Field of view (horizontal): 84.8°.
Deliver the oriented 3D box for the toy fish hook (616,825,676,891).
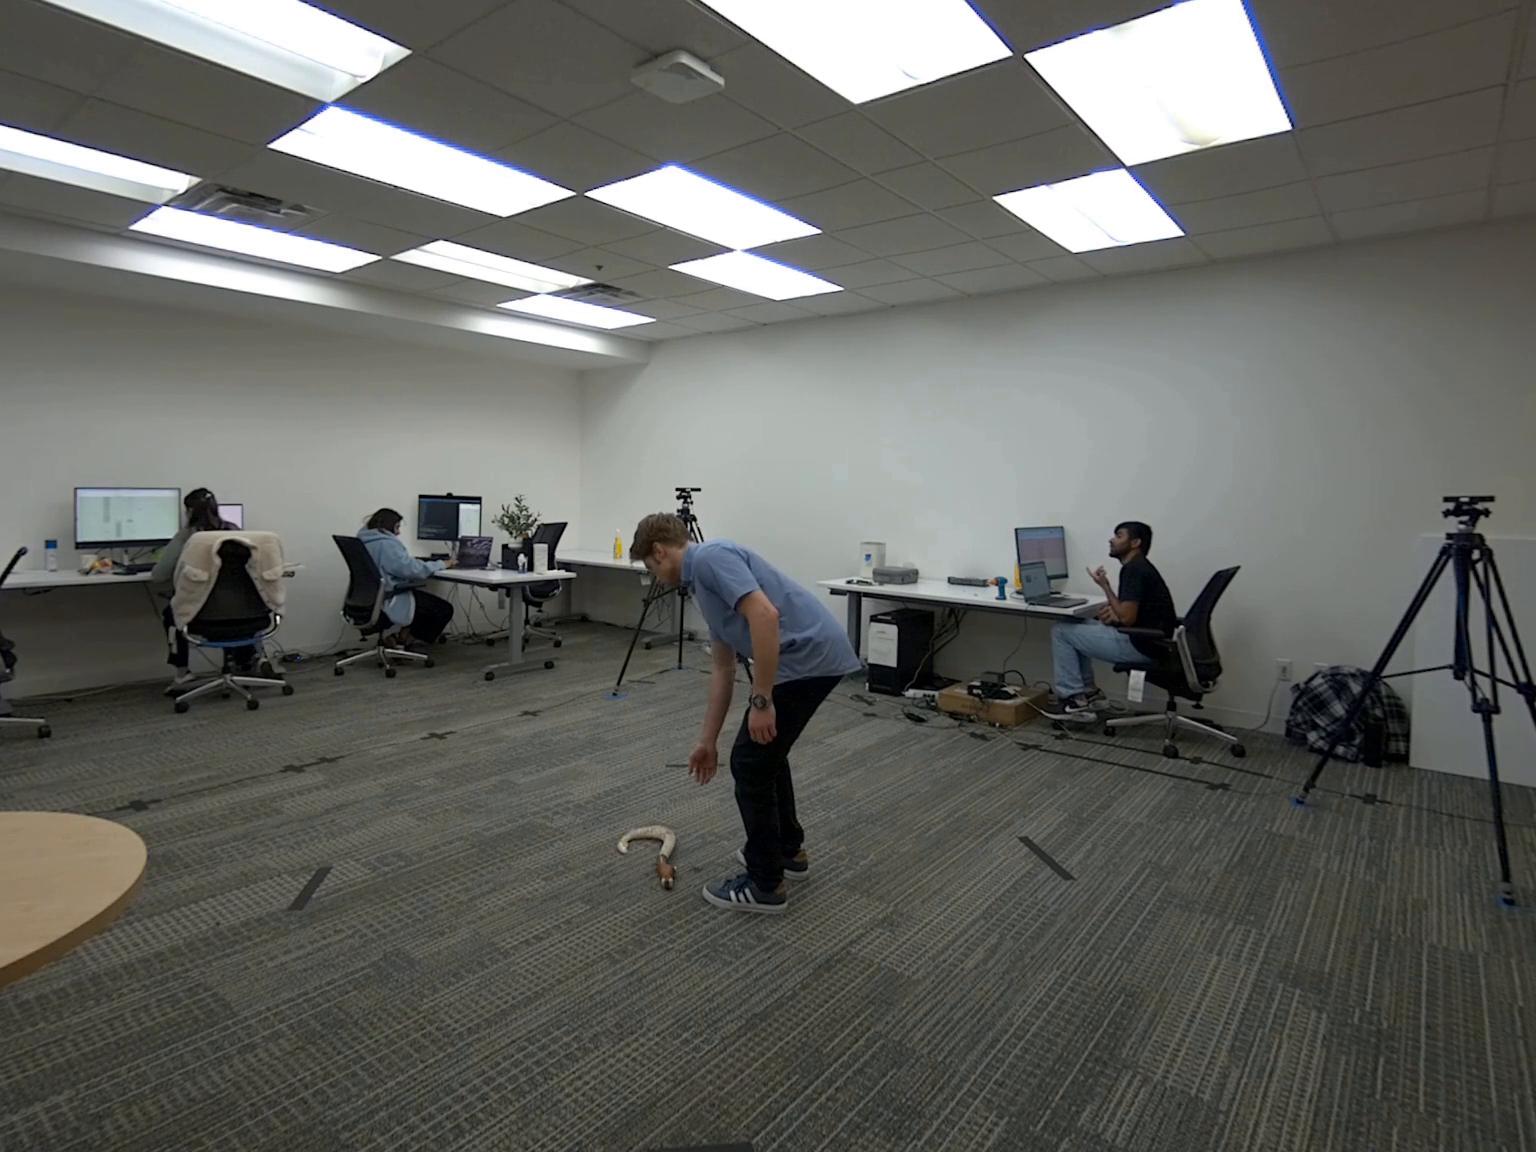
[{"bbox_3d":[-0.452,1.043,3.171,0.223,0.048,0.513,-8,7,-10],"label":"toy fish hook"}]
